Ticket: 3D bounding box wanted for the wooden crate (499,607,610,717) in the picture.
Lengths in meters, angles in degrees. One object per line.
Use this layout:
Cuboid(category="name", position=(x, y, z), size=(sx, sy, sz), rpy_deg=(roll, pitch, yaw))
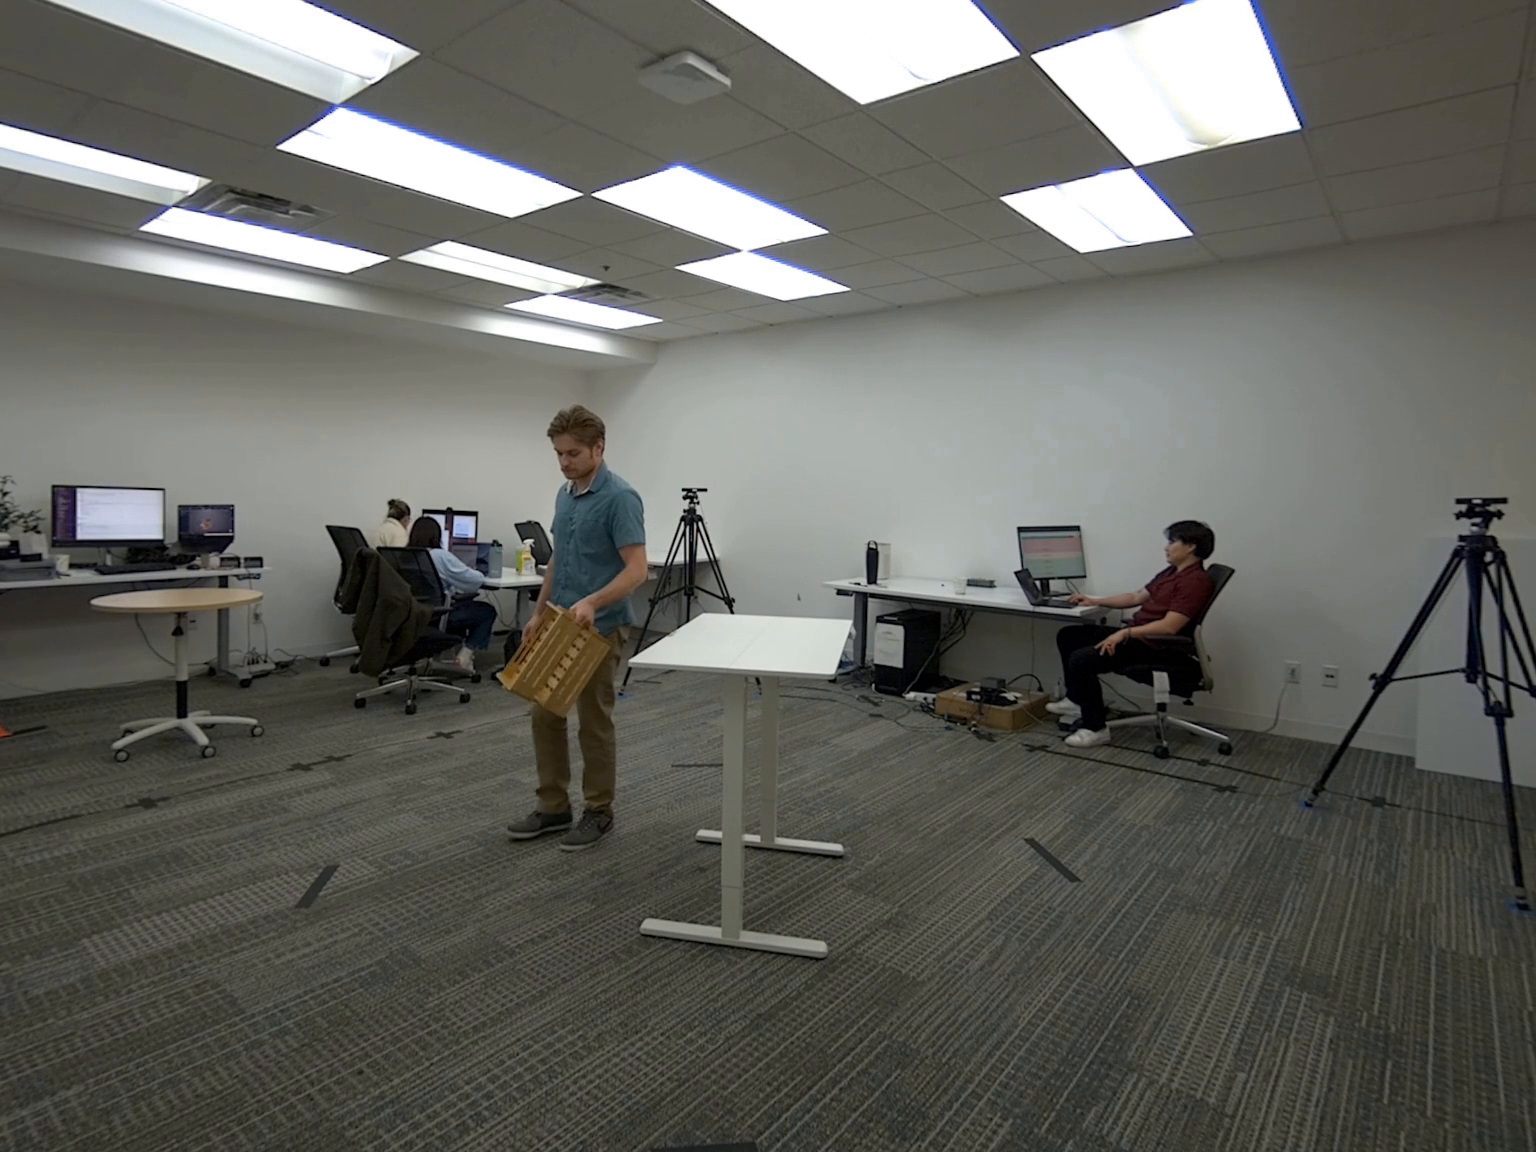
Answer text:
Cuboid(category="wooden crate", position=(-0.789, 0.266, 2.974), size=(0.263, 0.325, 0.313), rpy_deg=(39, -10, -34))
